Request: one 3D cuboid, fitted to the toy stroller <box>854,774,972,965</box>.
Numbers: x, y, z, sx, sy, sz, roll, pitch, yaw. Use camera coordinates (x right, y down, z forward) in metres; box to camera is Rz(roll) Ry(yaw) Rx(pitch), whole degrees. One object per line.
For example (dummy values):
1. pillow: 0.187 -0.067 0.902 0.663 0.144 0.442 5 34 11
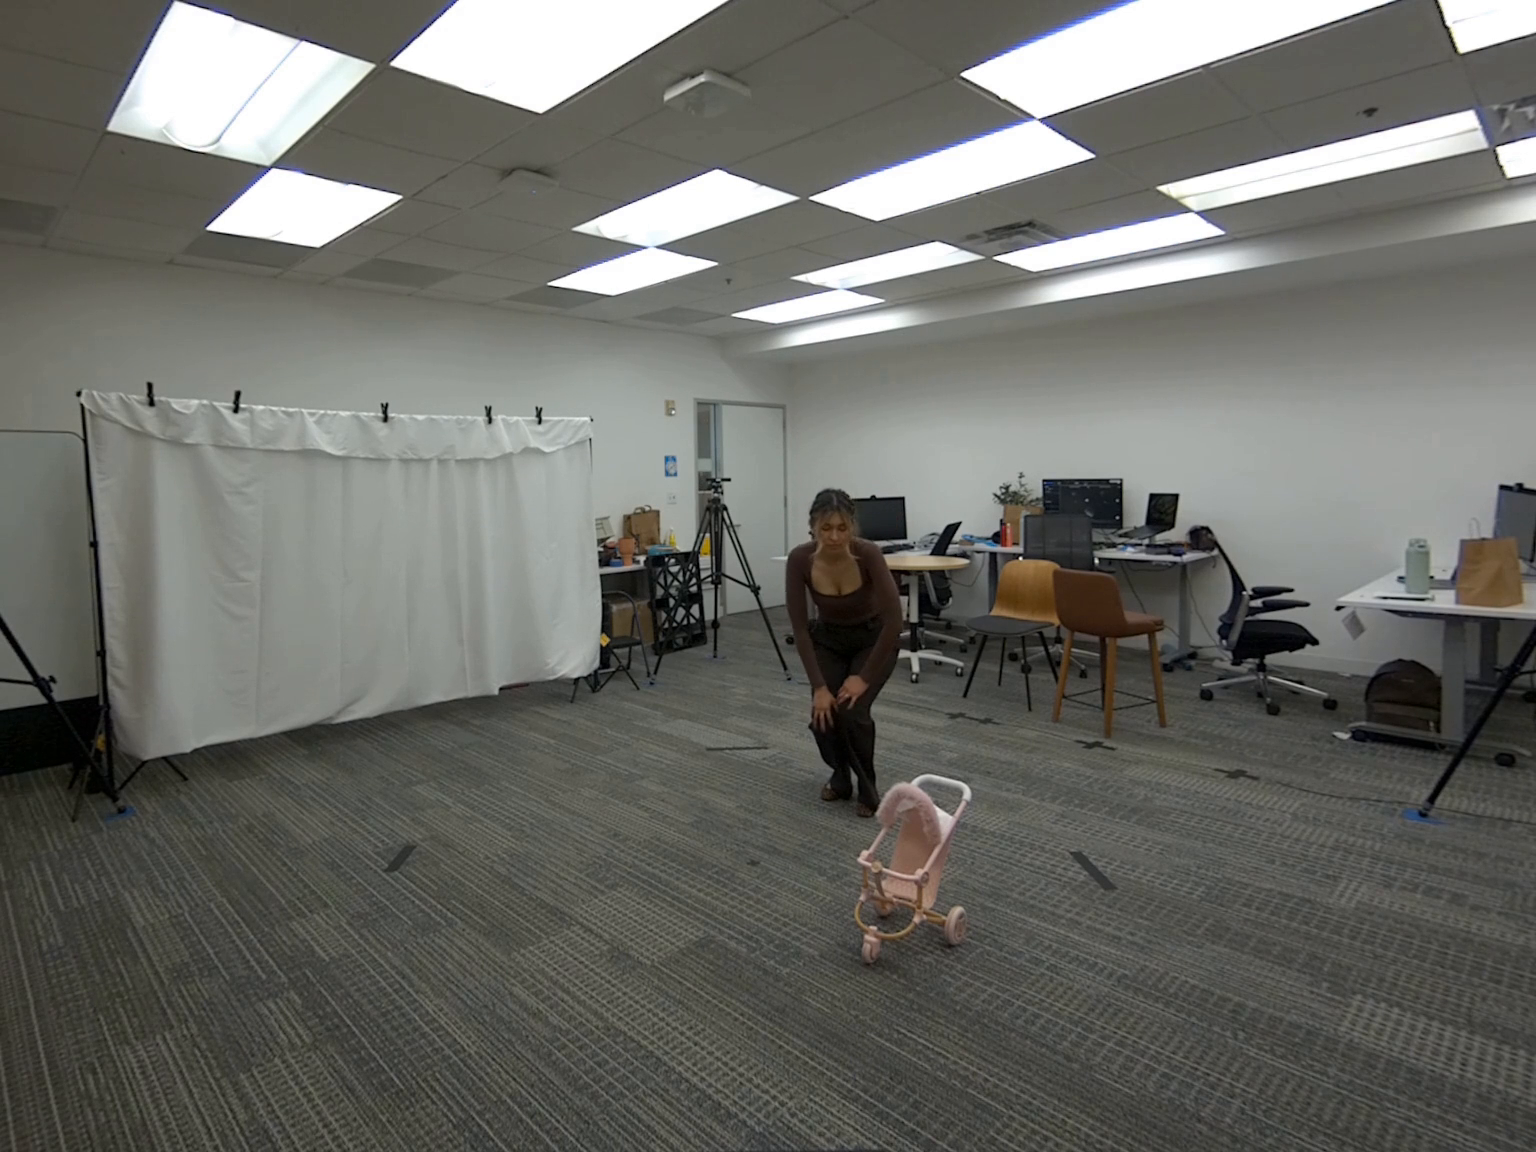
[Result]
1. toy stroller: 0.422 0.872 2.578 0.329 0.538 0.290 16 -9 -41
